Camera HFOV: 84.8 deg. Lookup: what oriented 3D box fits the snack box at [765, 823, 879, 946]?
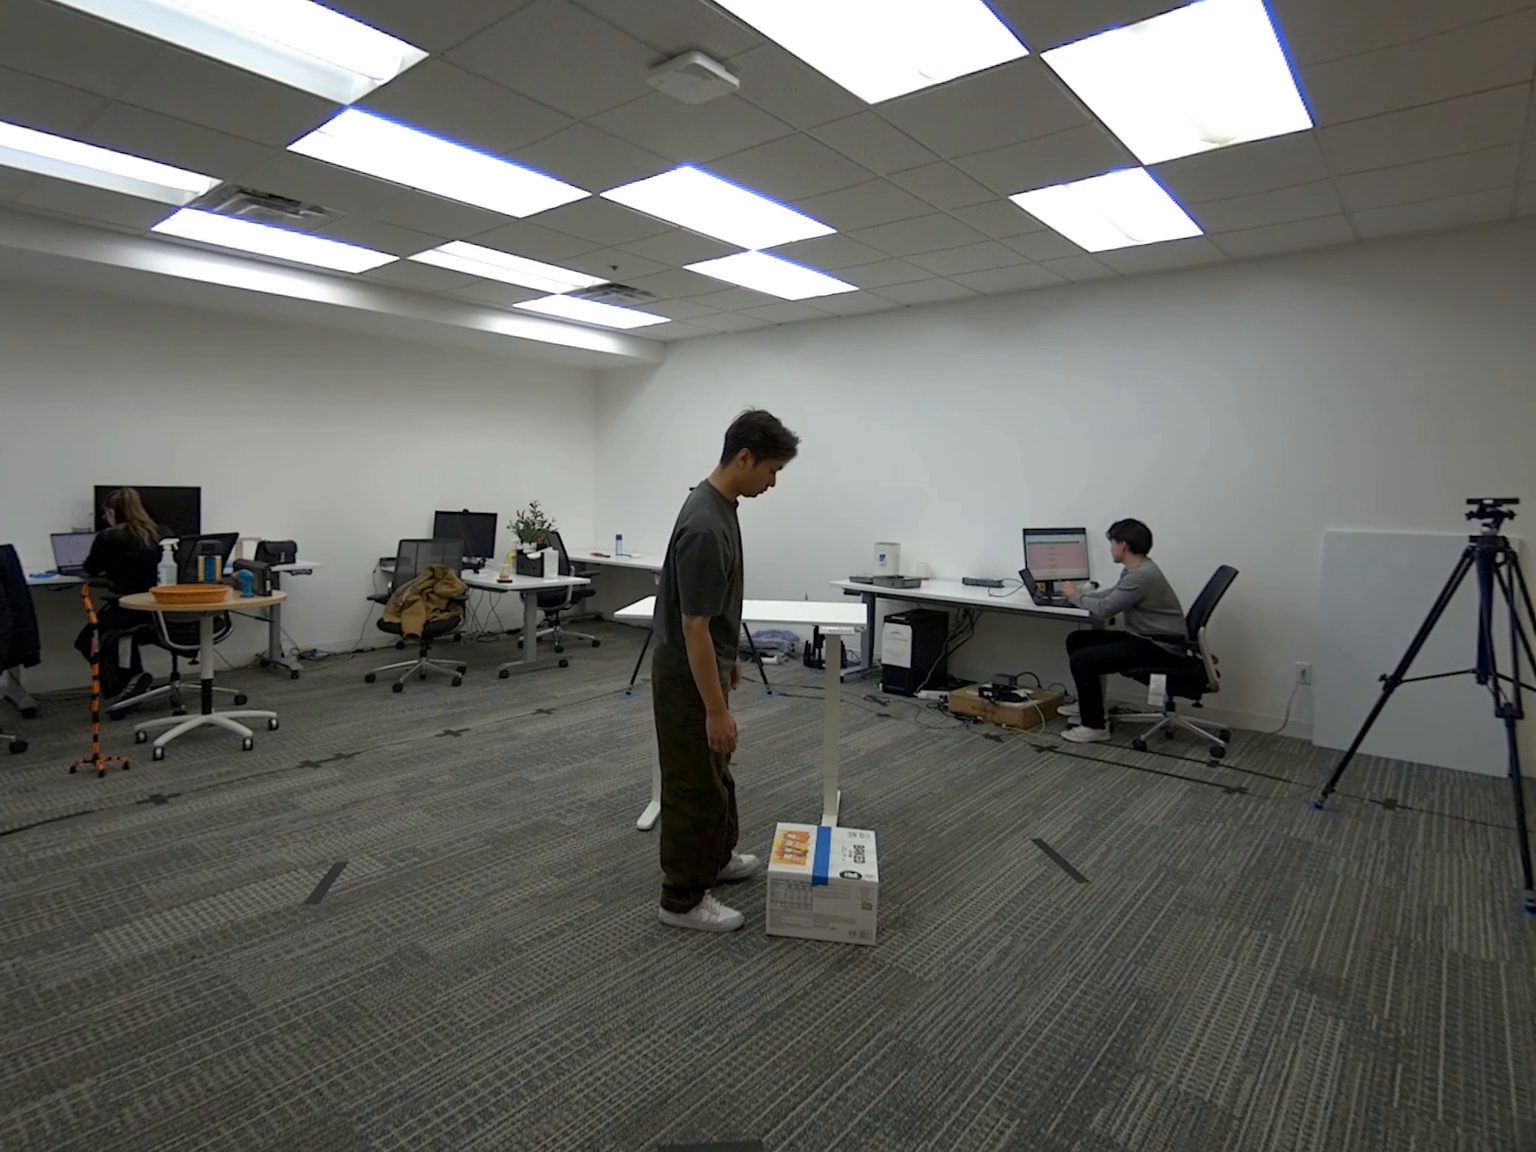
[{"bbox_3d":[0.175,1.006,2.807,0.343,0.205,0.403,2,5,7],"label":"snack box"}]
